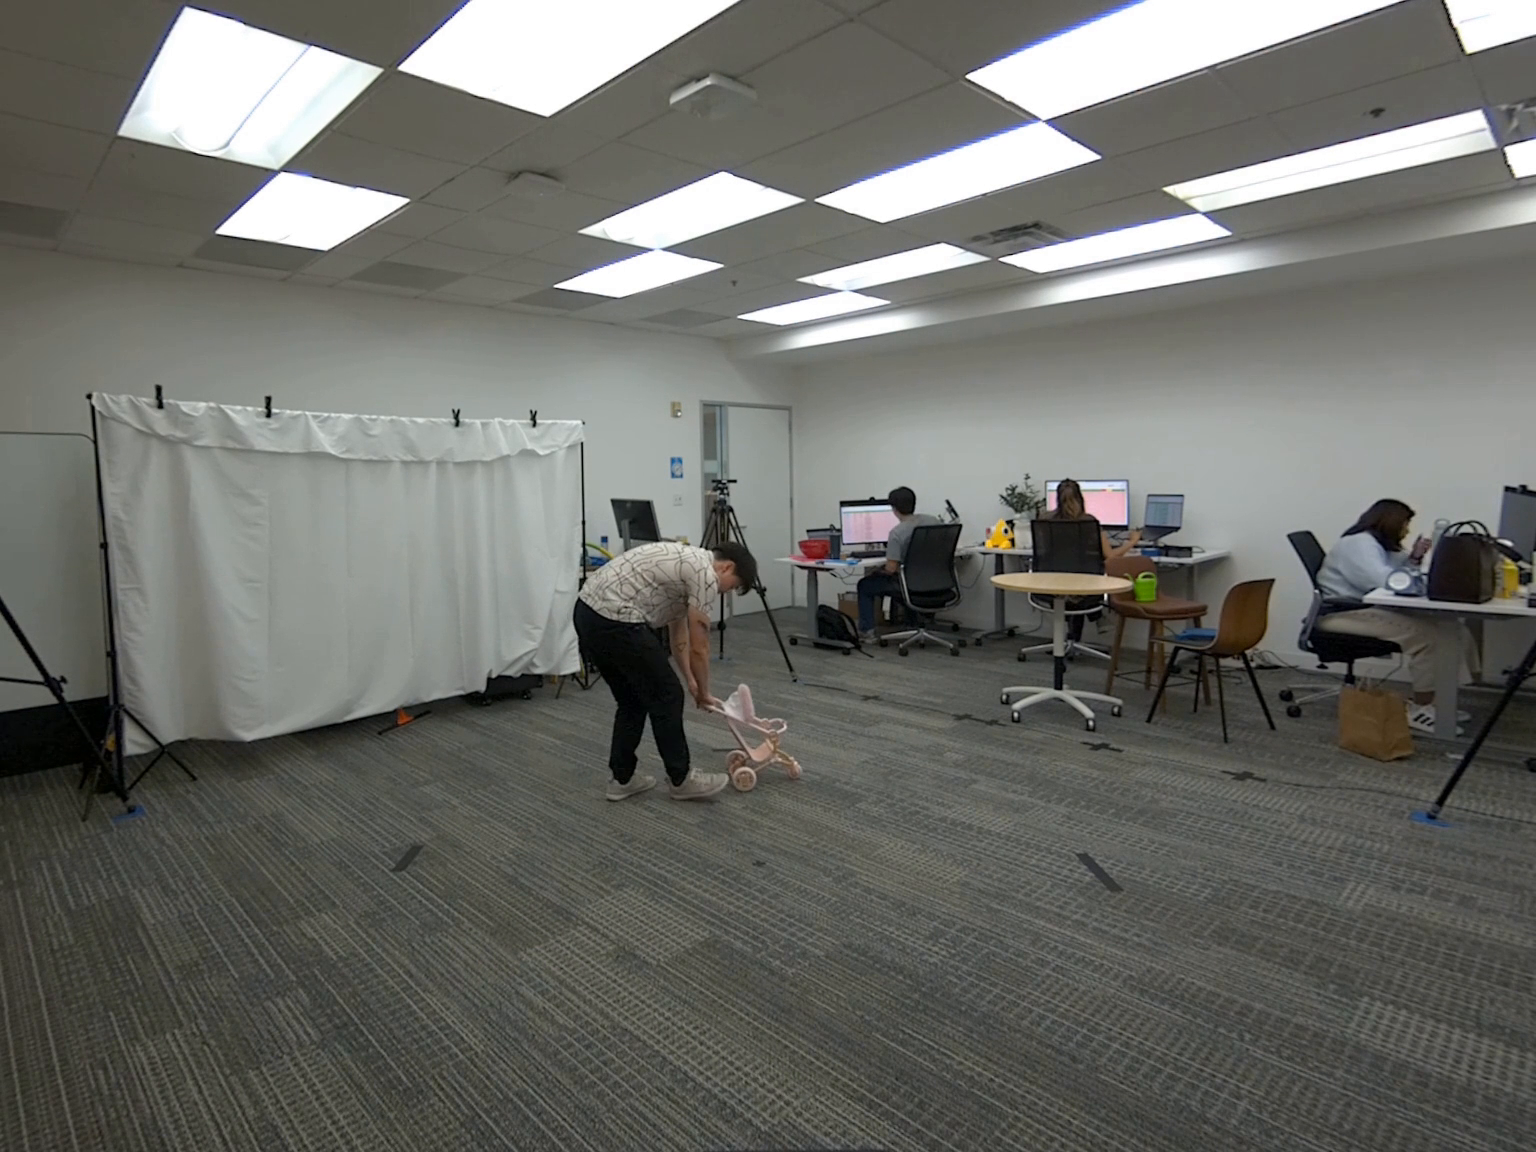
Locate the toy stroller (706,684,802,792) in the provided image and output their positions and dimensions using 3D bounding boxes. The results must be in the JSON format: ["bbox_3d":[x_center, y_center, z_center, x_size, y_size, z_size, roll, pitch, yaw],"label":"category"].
[{"bbox_3d":[-0.076,0.733,3.947,0.341,0.532,0.283,-20,5,-3],"label":"toy stroller"}]
